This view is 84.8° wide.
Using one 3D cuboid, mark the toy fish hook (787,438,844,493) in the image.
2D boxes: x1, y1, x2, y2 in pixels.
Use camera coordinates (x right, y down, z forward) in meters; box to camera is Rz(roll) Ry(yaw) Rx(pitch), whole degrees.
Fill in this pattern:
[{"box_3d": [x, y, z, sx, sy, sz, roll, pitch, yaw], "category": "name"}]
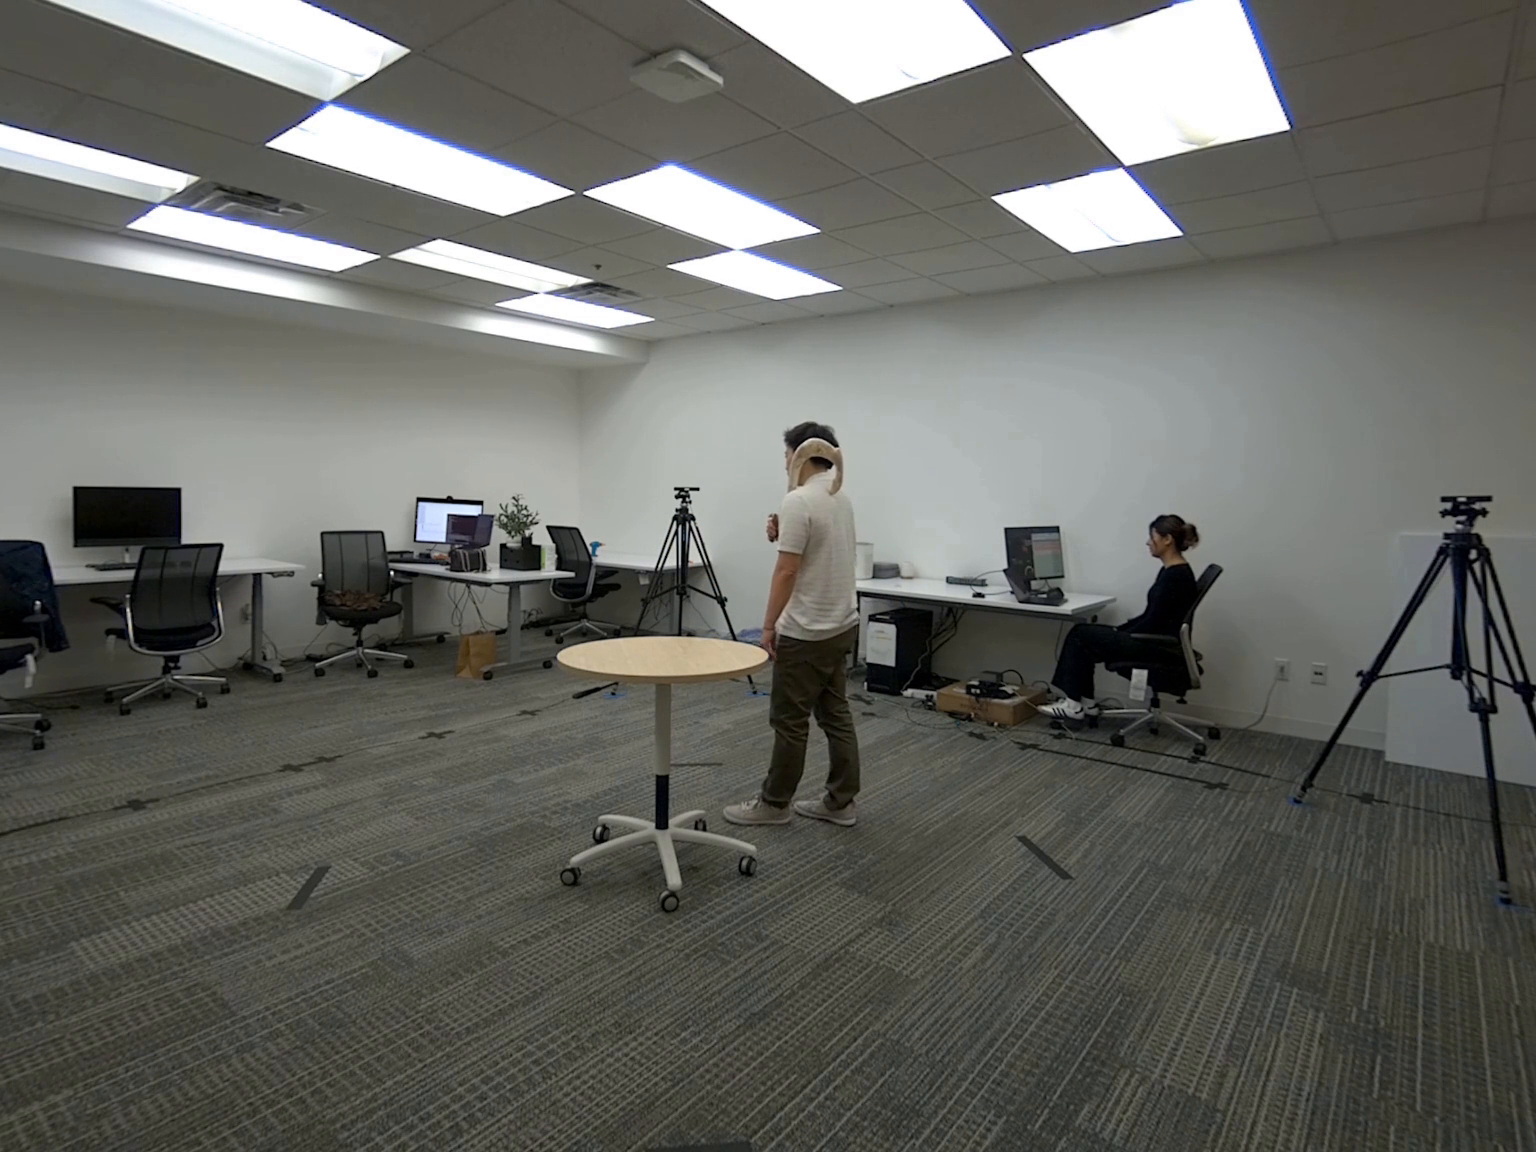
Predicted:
[{"box_3d": [0.148, -0.328, 3.494, 0.230, 0.501, 0.048, 32, 27, 17], "category": "toy fish hook"}]
